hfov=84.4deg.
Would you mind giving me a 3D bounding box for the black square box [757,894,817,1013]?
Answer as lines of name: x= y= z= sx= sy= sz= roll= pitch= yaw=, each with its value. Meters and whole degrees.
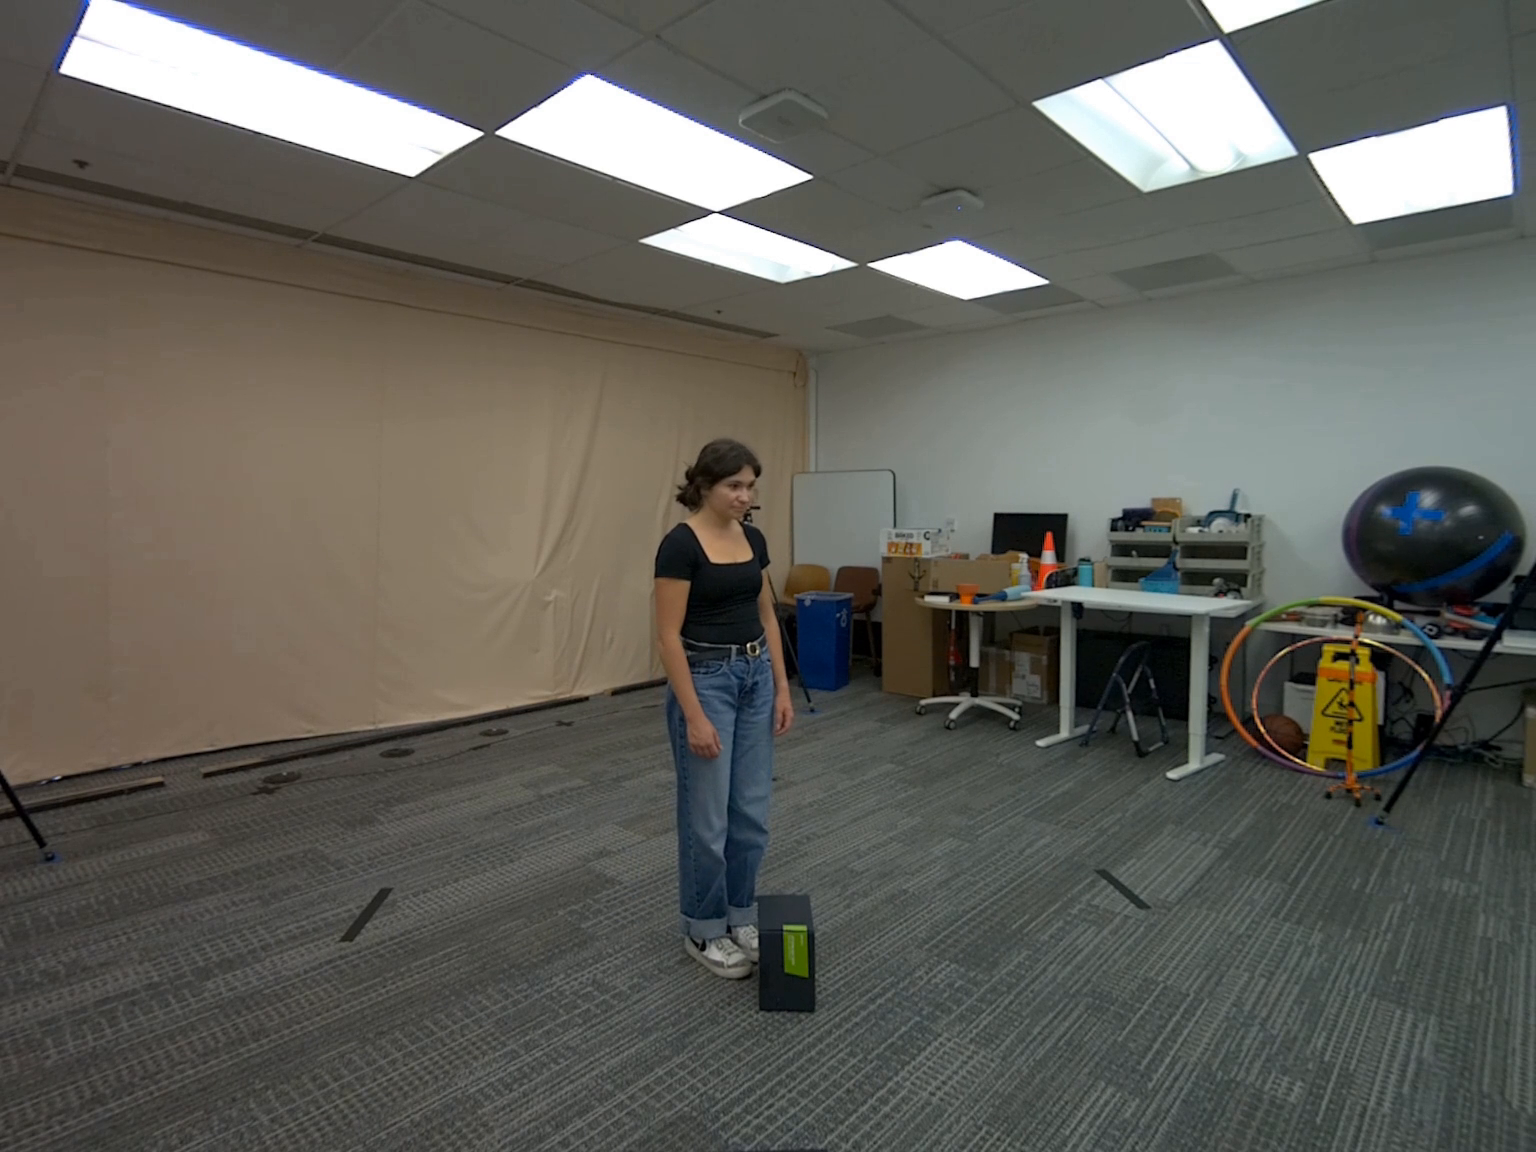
black square box: x=0.054 y=1.072 z=2.409 sx=0.156 sy=0.227 sz=0.217 roll=0 pitch=4 yaw=-1
